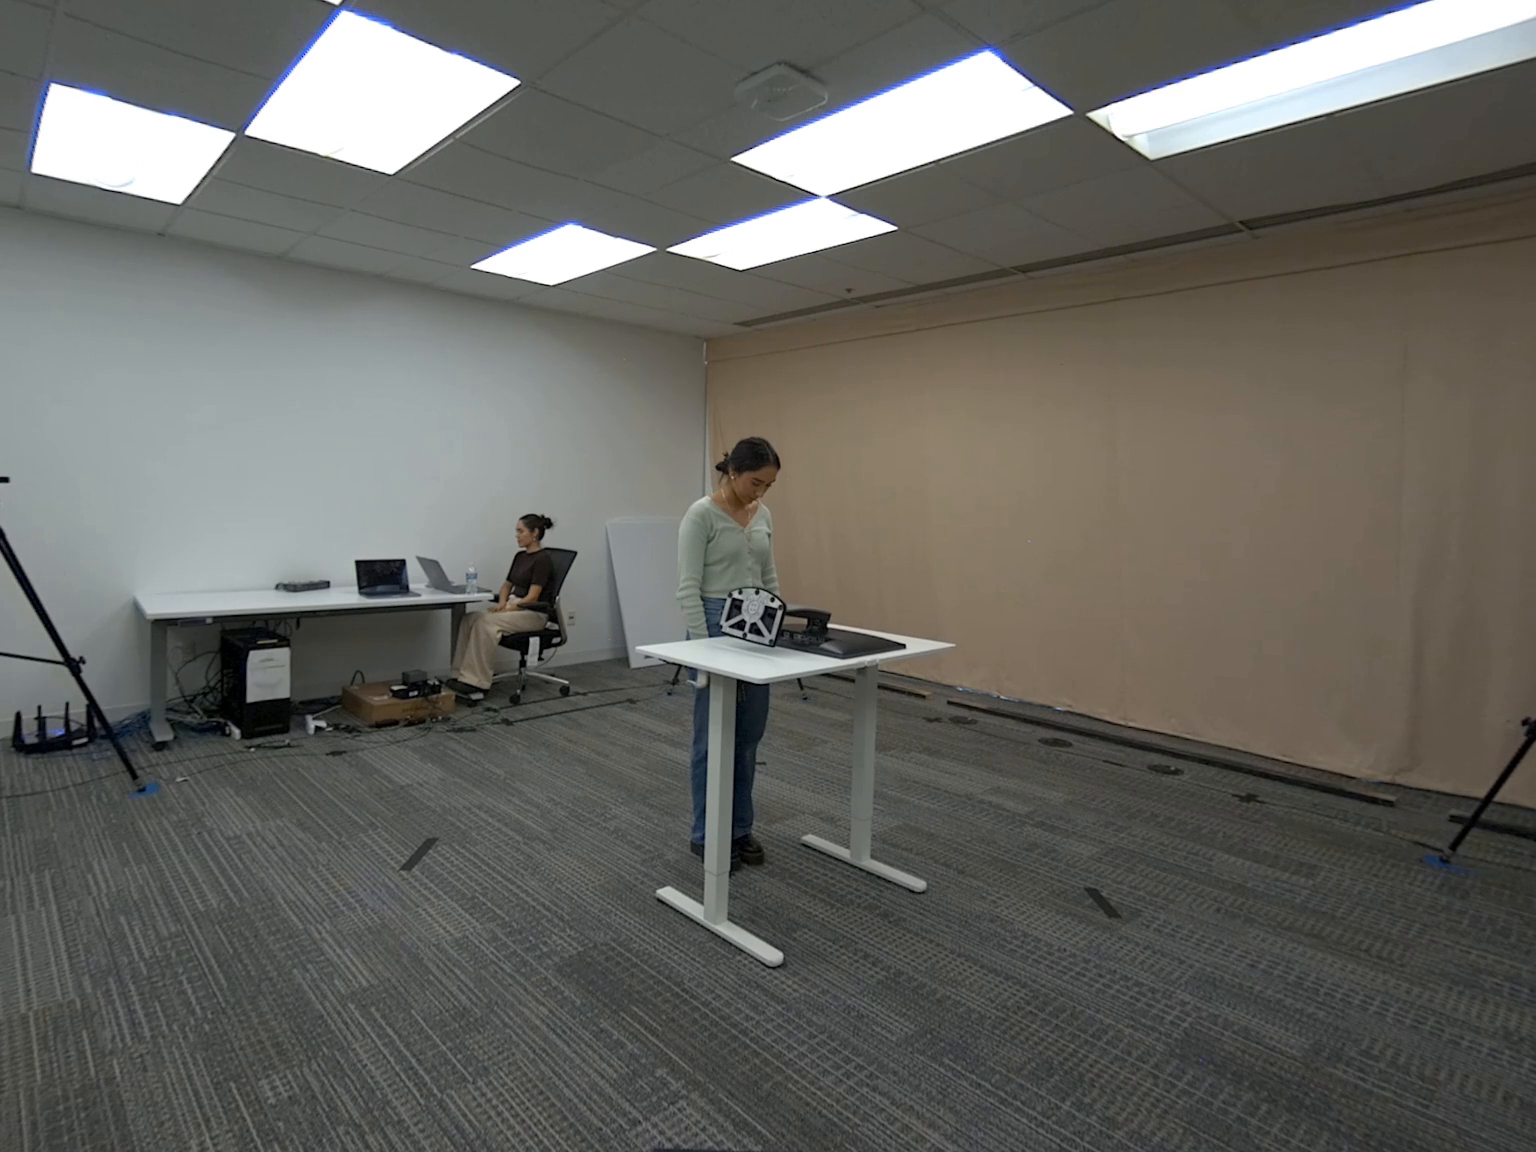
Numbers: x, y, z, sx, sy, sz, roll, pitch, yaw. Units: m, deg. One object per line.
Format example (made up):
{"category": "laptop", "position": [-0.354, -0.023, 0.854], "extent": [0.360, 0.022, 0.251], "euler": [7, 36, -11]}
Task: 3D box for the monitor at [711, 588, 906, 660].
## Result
{"category": "monitor", "position": [0.109, 0.182, 2.946], "extent": [0.507, 0.187, 0.554], "euler": [16, -4, -44]}
